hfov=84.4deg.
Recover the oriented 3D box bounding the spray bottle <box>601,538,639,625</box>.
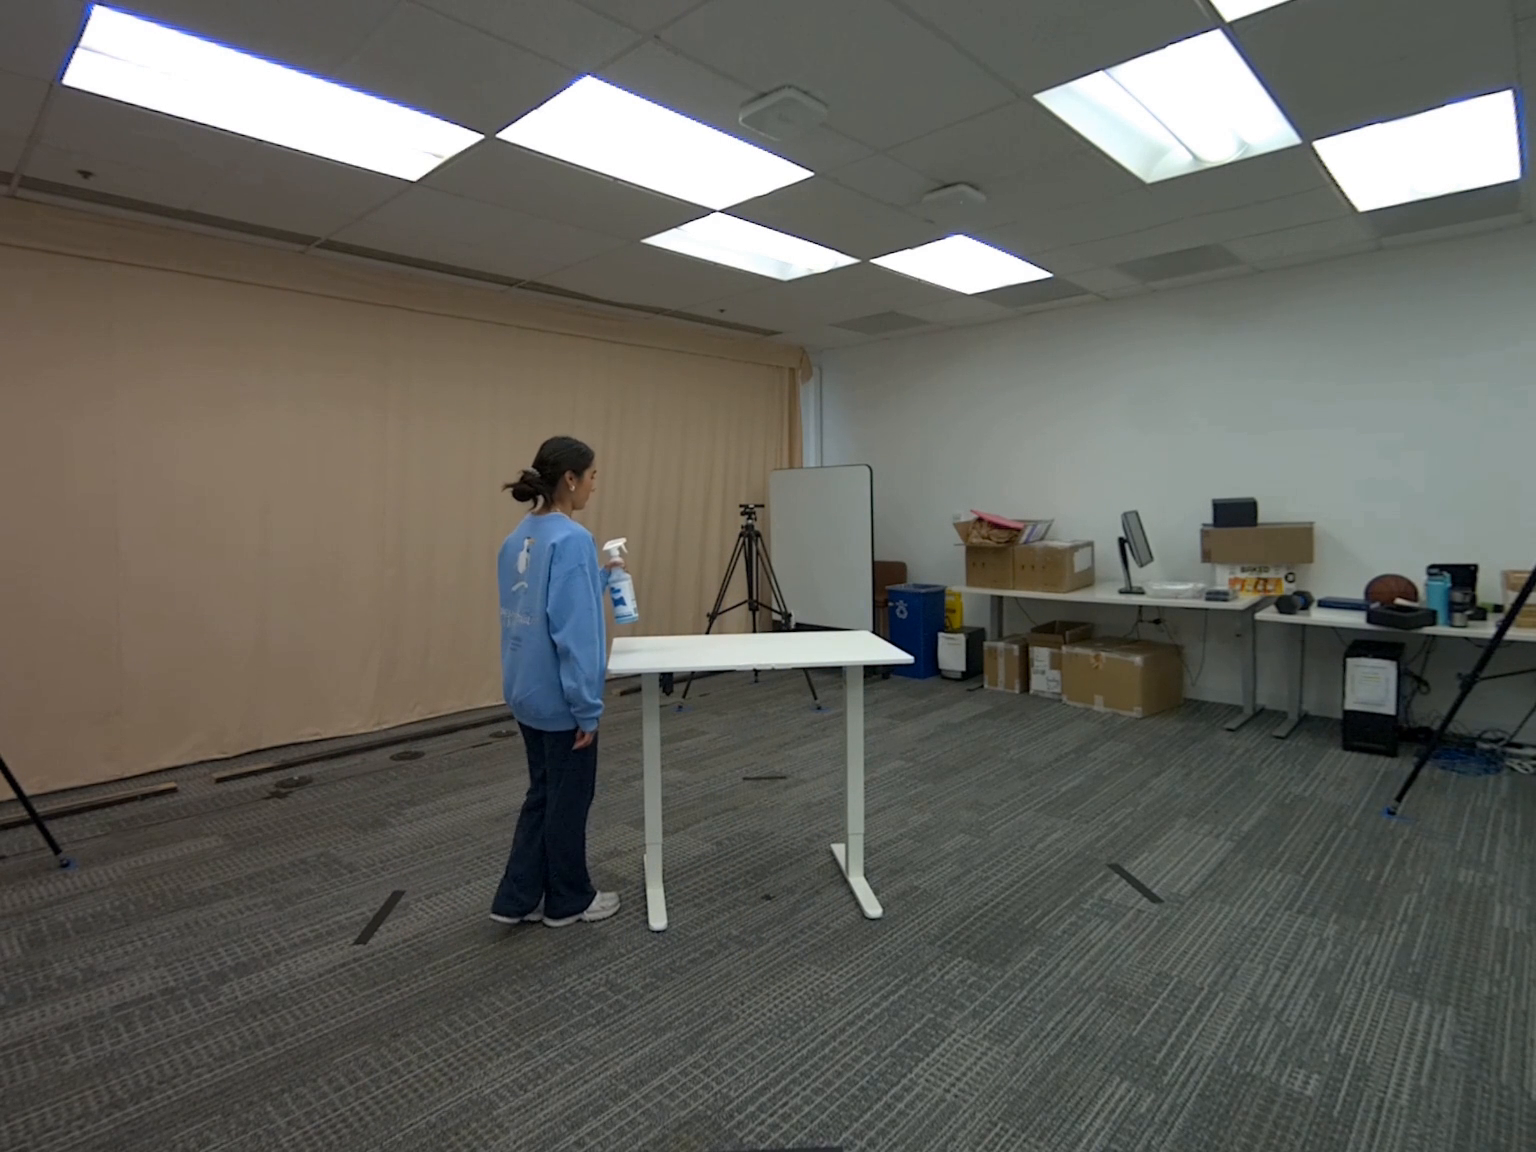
[{"bbox_3d":[-0.532,0.022,2.991,0.090,0.297,0.087,-9,0,-2],"label":"spray bottle"}]
